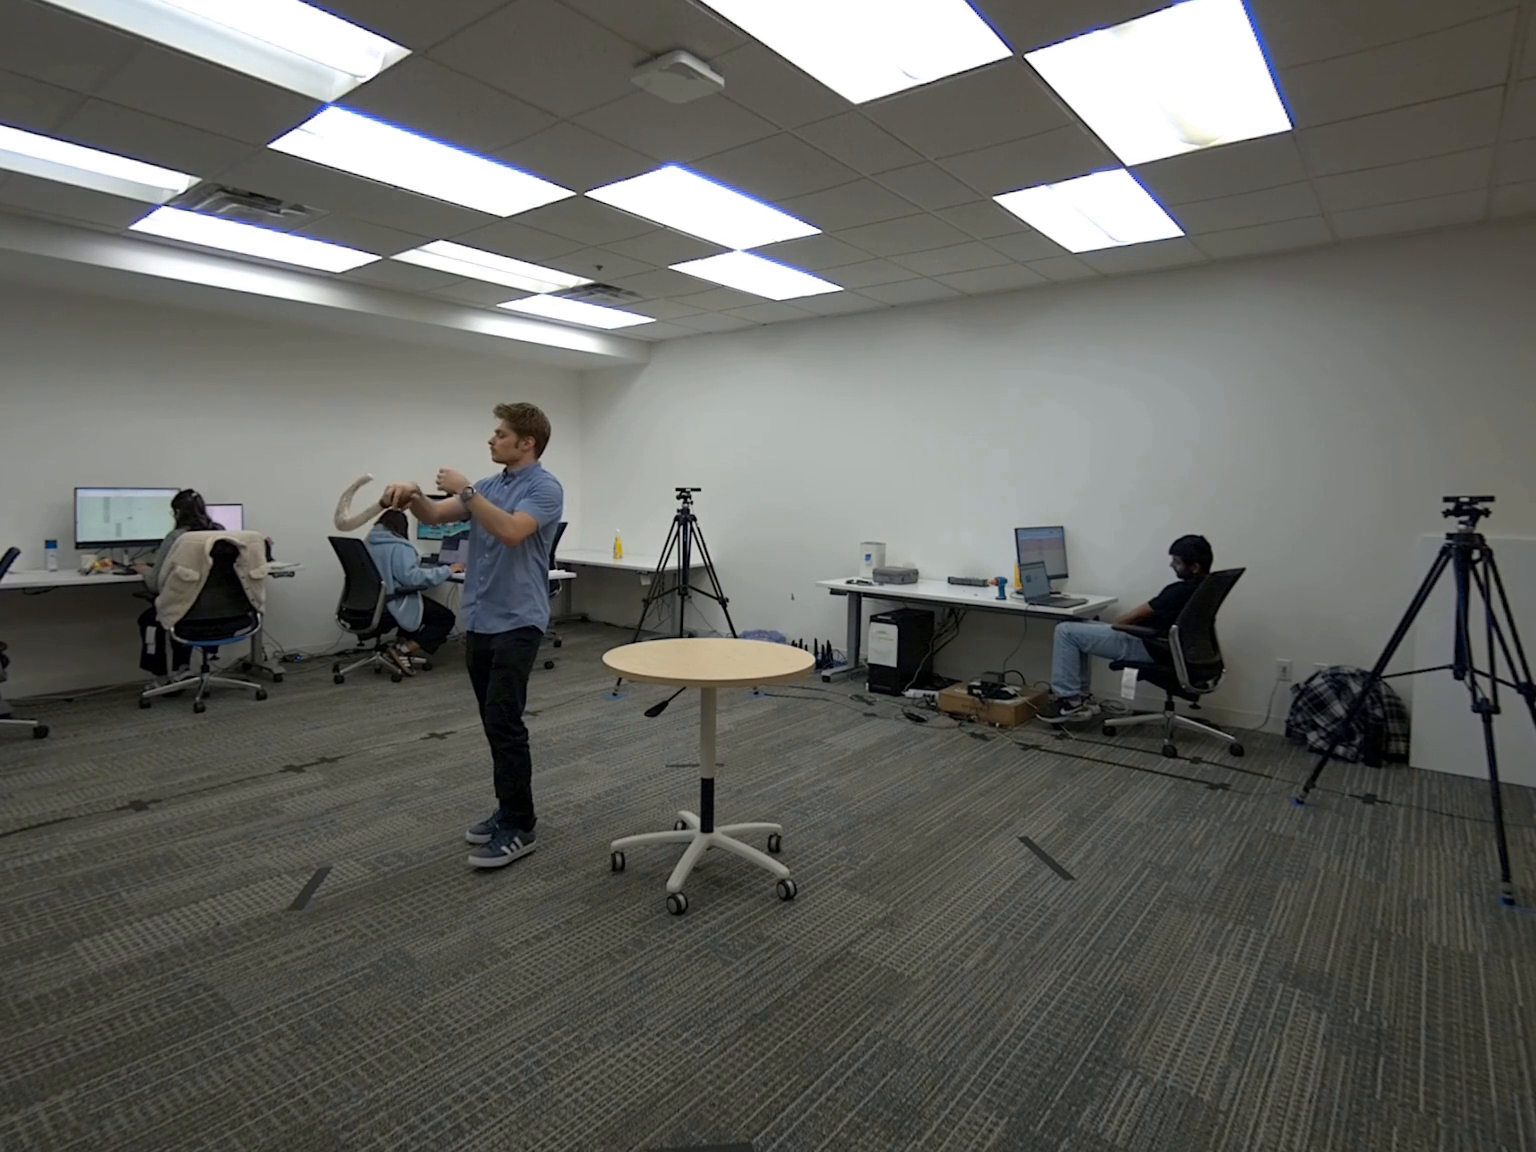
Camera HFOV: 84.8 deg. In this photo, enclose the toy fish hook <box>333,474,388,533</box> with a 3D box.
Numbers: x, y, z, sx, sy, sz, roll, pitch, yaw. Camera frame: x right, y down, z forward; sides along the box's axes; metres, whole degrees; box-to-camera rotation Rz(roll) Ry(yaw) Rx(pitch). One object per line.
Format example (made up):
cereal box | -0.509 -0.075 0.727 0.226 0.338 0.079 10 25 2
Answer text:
toy fish hook | -1.451 -0.298 3.120 0.518 0.228 0.046 -12 -20 32
